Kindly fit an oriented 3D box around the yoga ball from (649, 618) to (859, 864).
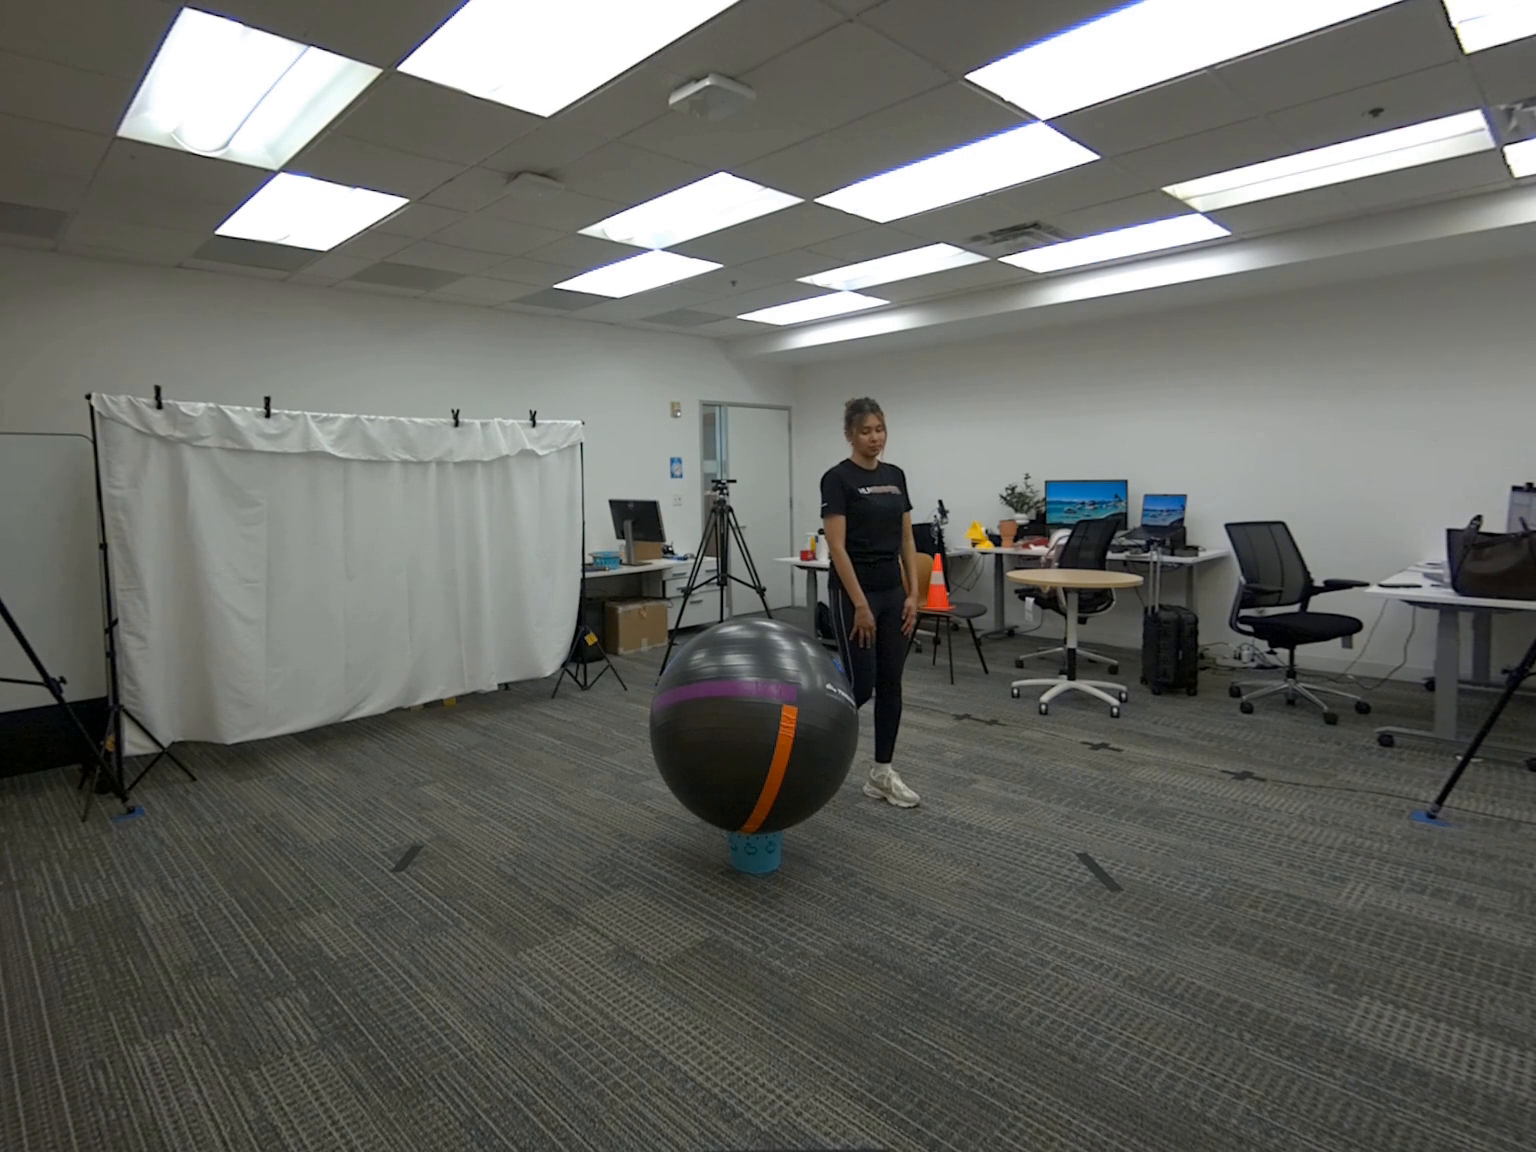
[{"bbox_3d":[-0.052,0.537,3.105,0.757,0.755,0.762,-1,5,-2],"label":"yoga ball"}]
